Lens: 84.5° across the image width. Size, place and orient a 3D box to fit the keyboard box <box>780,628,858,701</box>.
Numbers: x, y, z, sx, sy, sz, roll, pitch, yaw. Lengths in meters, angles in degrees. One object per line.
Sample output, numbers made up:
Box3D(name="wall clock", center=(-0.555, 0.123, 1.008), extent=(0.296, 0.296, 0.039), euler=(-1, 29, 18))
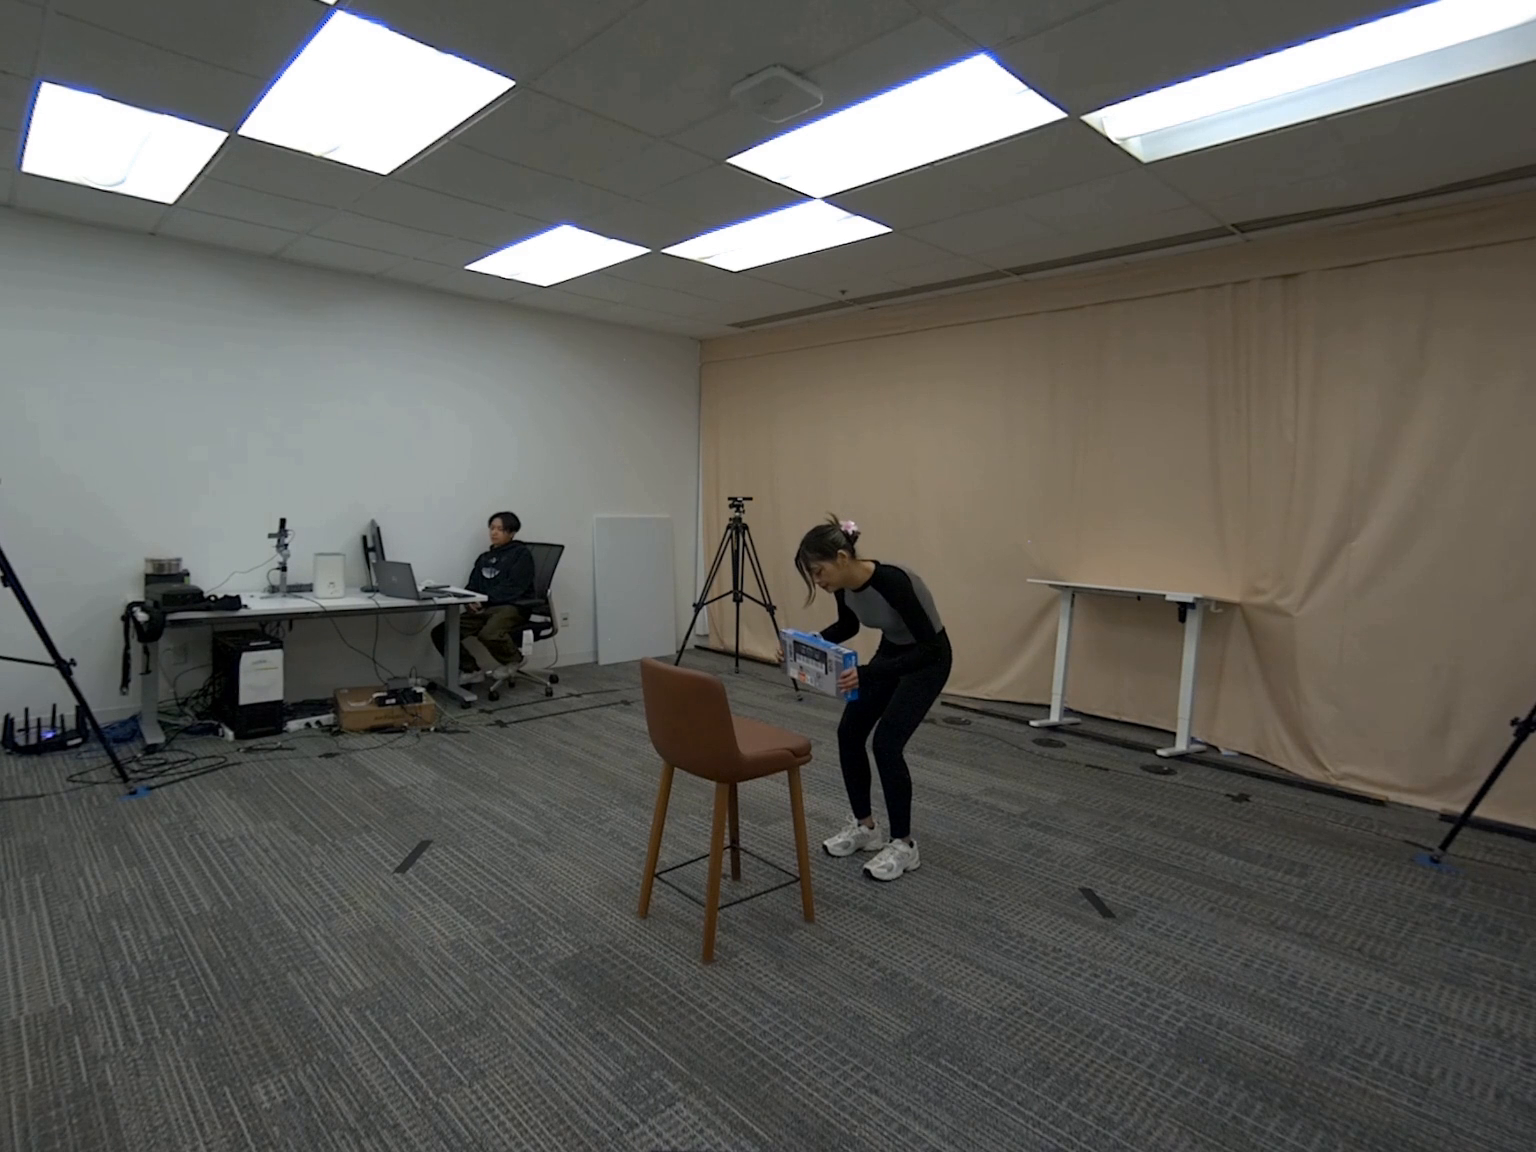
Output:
Box3D(name="keyboard box", center=(0.172, 0.326, 3.112), extent=(0.058, 0.175, 0.447), euler=(-7, 11, -29))
